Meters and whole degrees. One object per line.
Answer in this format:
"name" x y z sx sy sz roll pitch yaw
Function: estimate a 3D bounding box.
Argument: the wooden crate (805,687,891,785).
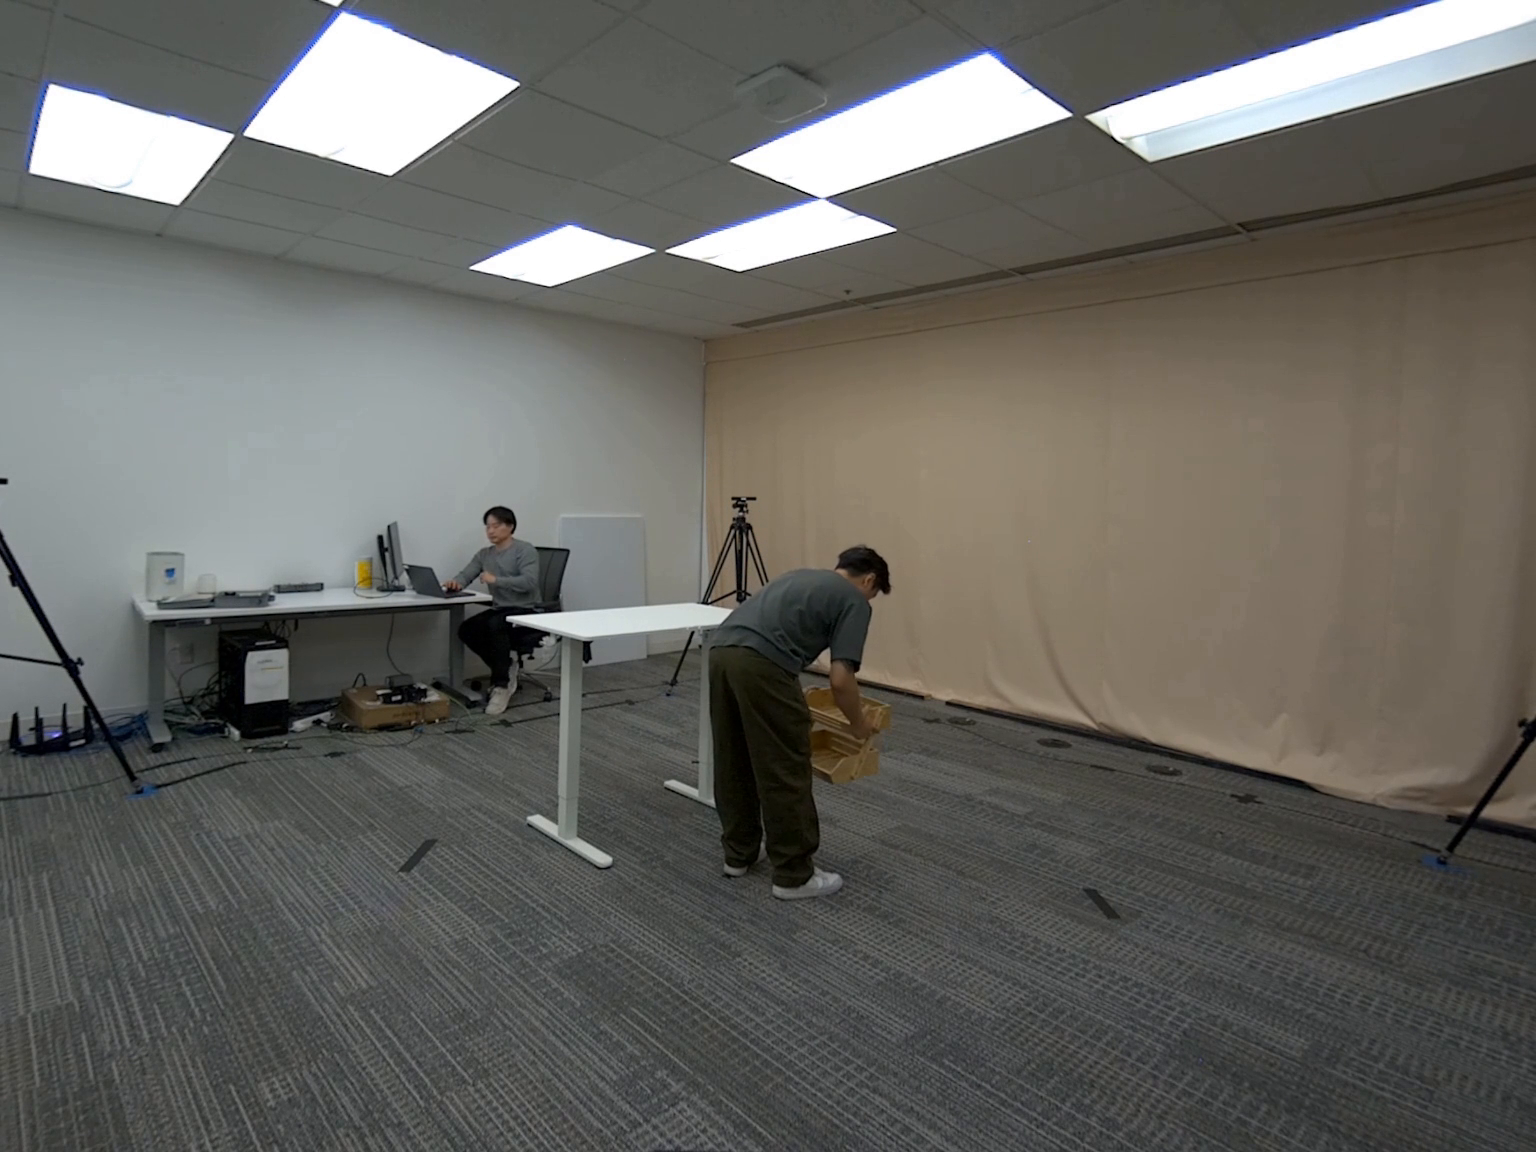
"wooden crate" 0.248 0.602 3.263 0.295 0.272 0.333 -2 8 -38
